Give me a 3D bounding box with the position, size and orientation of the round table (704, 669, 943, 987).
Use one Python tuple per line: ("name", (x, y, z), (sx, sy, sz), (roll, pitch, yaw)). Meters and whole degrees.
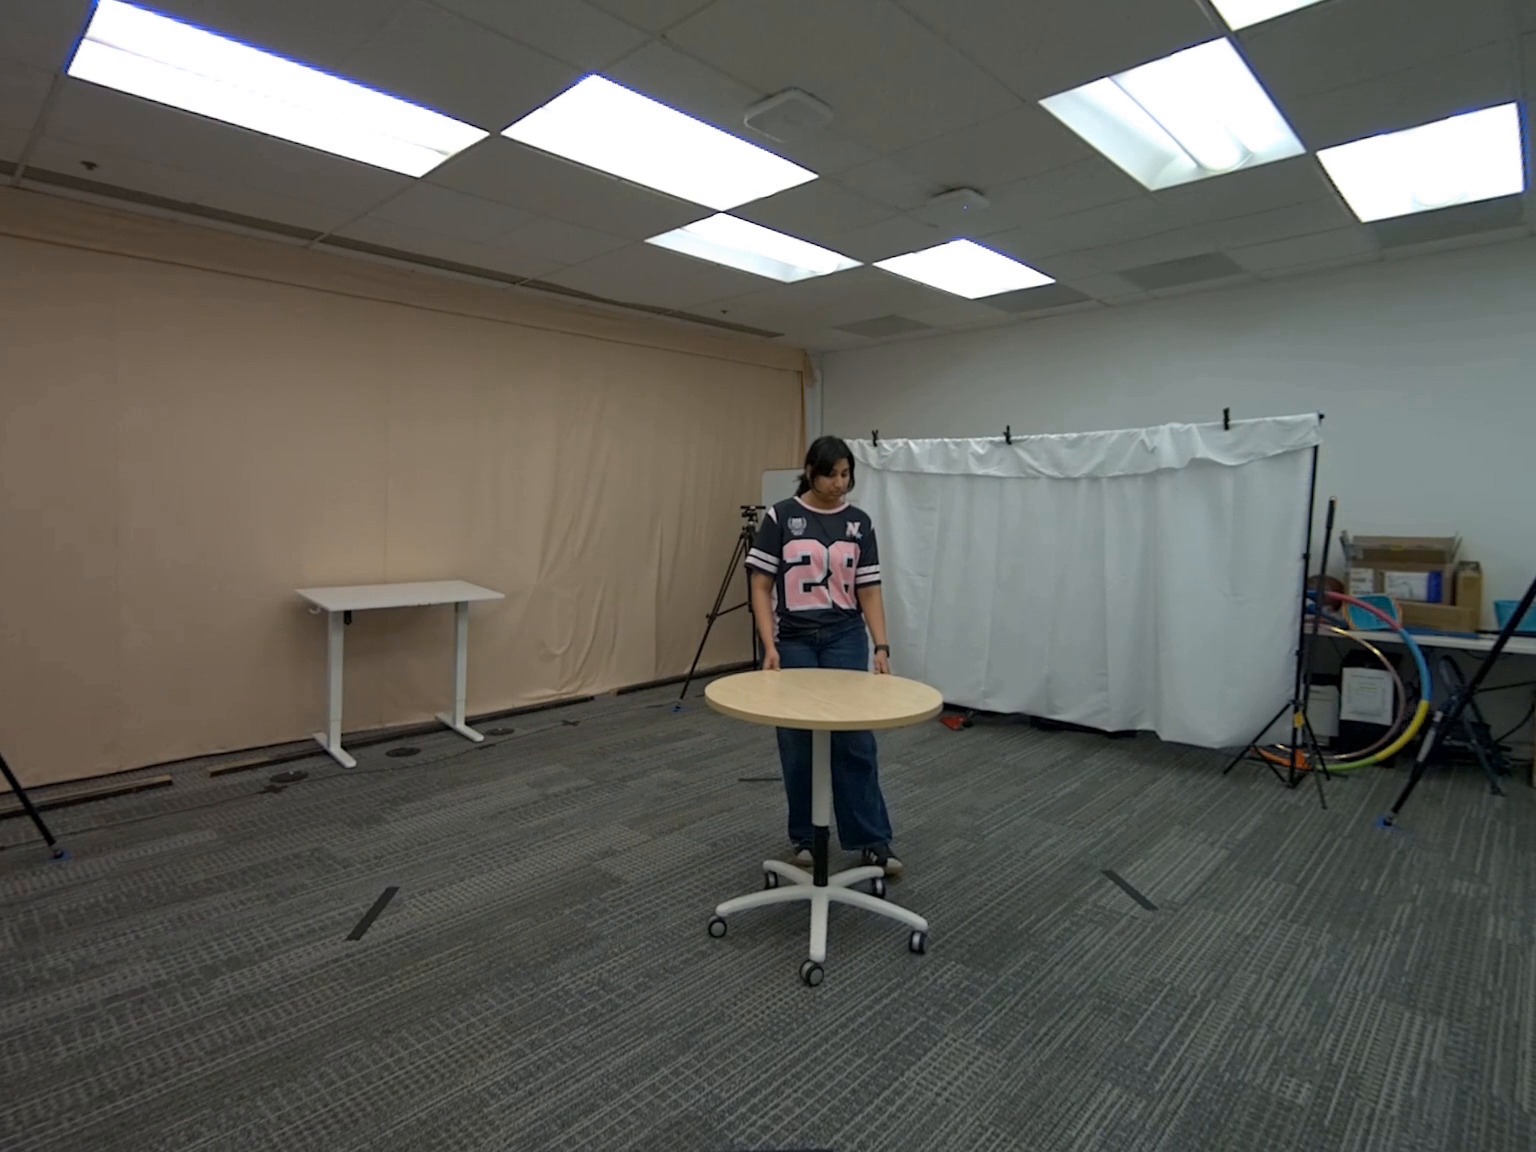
("round table", (0.172, 0.768, 2.774), (0.763, 0.792, 0.766), (1, 3, -2))
